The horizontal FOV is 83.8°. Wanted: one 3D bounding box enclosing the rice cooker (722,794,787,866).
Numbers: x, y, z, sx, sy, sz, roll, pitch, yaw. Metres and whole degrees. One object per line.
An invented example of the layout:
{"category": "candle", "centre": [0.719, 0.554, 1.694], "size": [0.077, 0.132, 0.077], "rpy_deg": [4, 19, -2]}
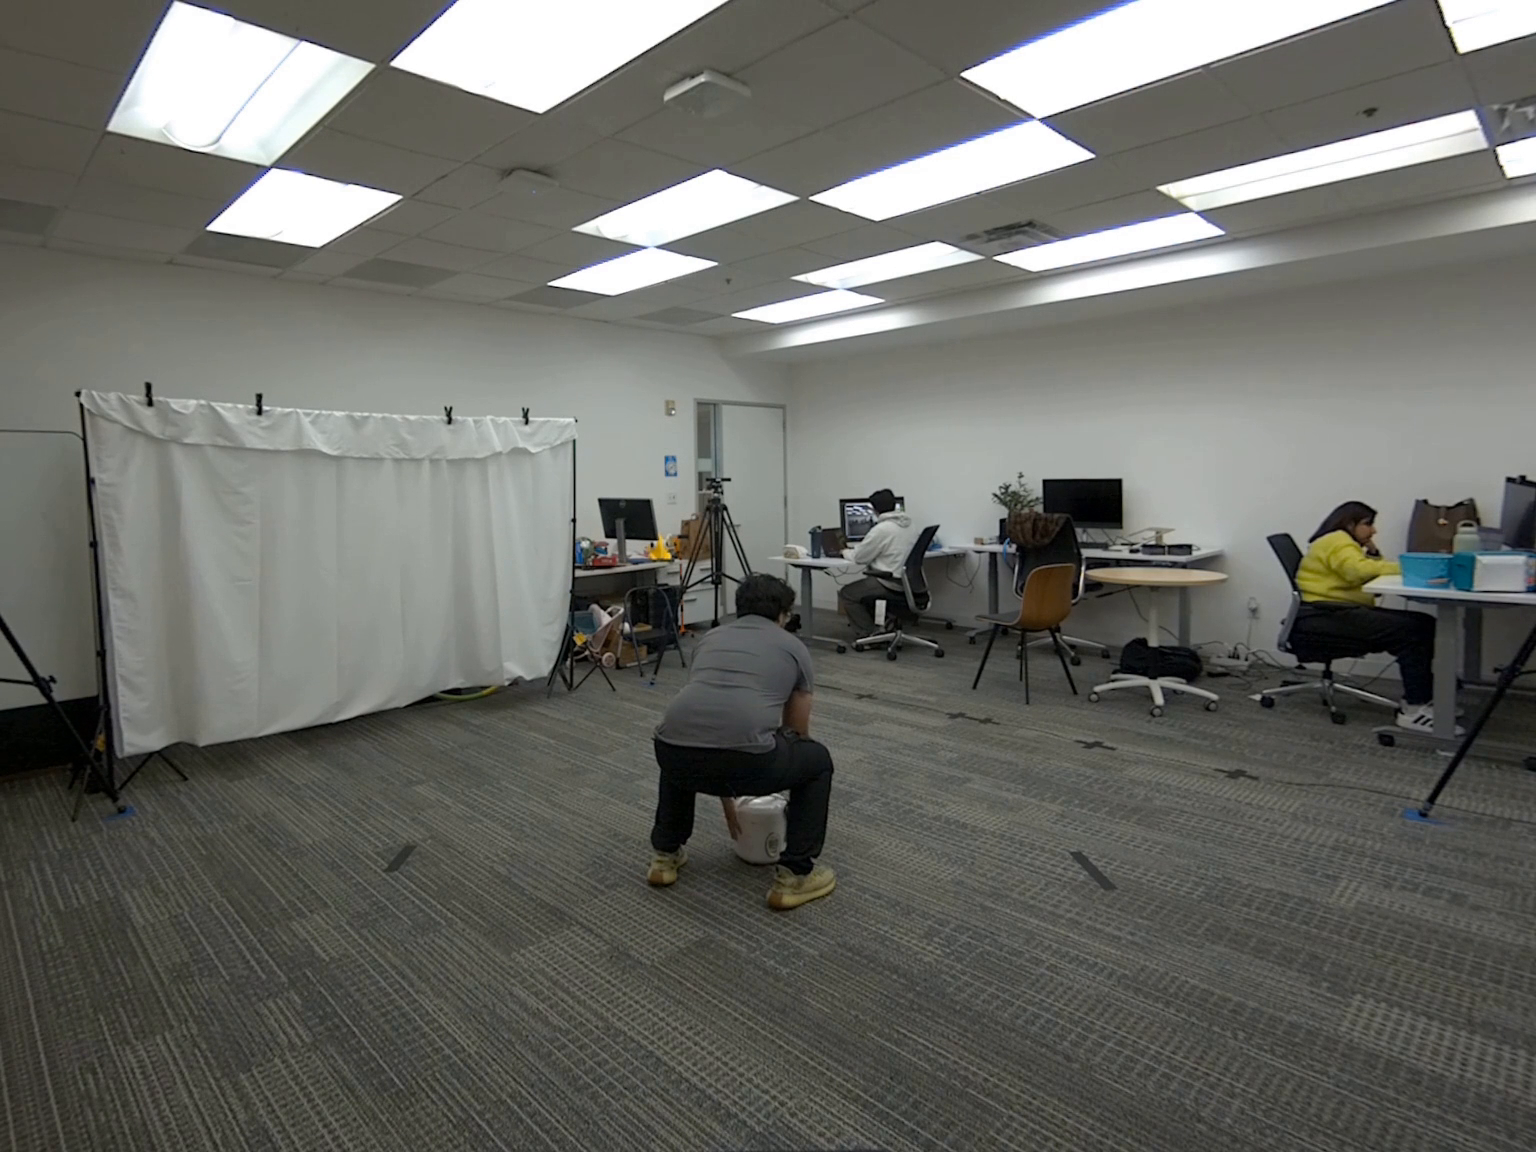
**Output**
{"category": "rice cooker", "centre": [-0.021, 0.912, 3.165], "size": [0.216, 0.232, 0.222], "rpy_deg": [-4, 6, -23]}
